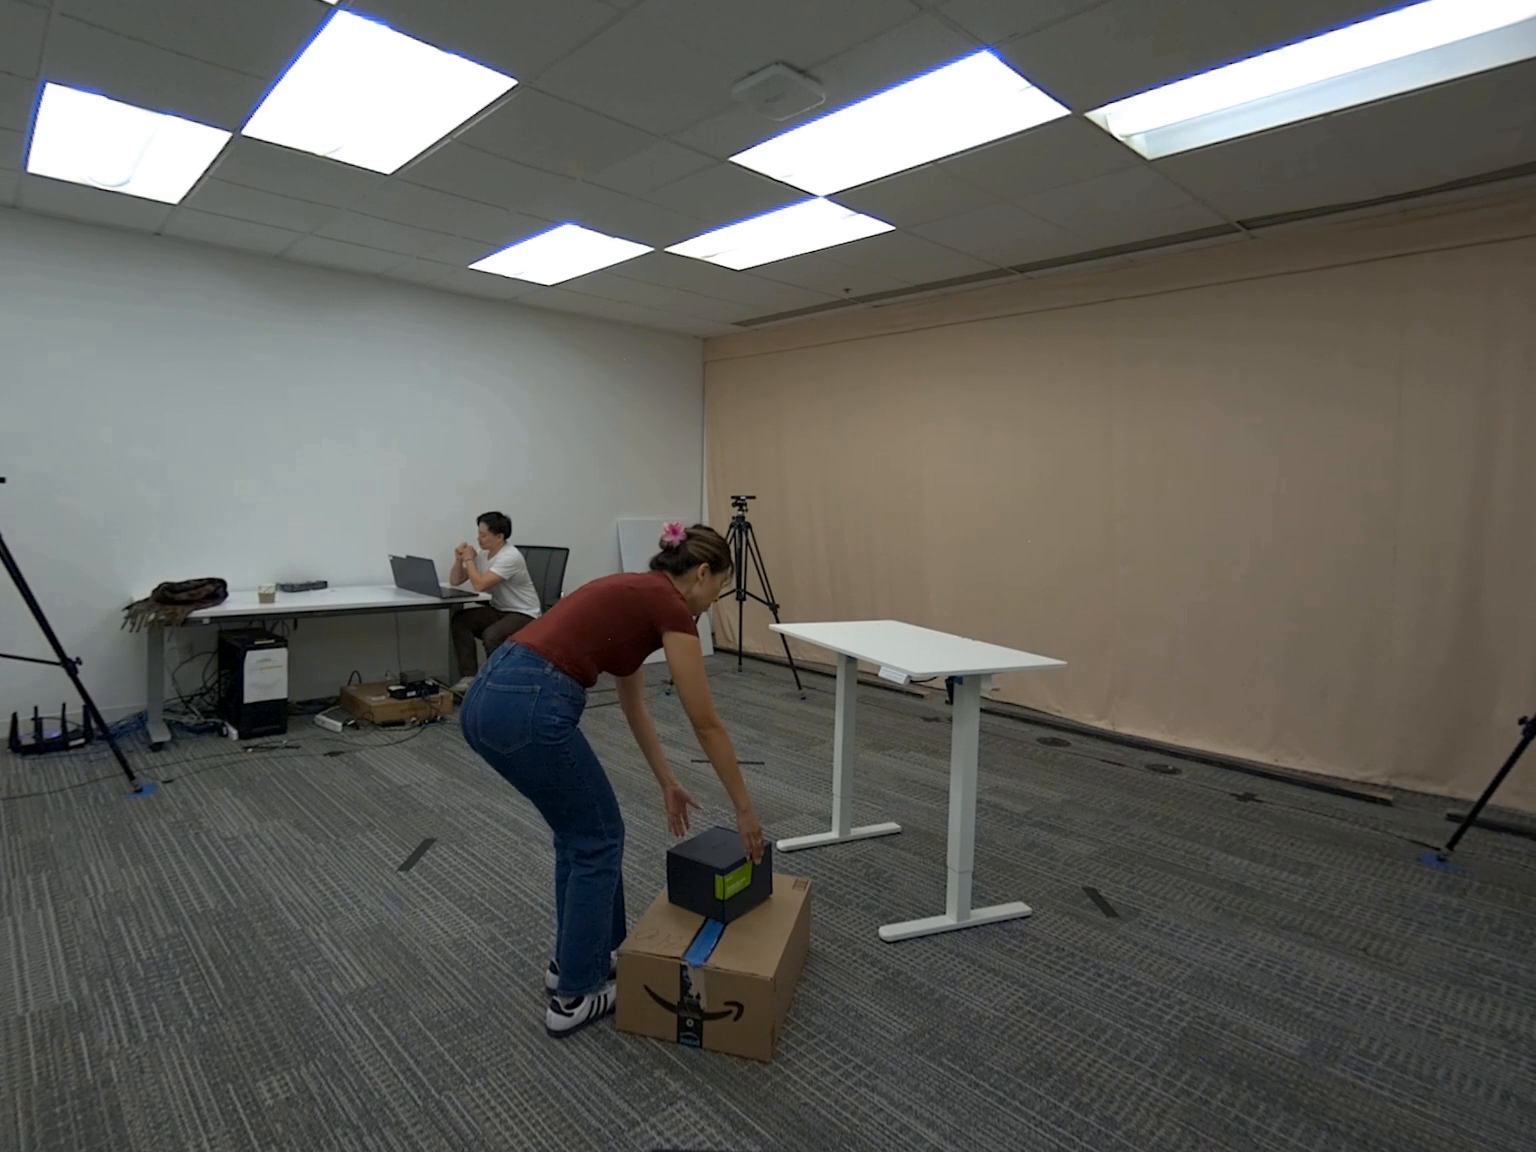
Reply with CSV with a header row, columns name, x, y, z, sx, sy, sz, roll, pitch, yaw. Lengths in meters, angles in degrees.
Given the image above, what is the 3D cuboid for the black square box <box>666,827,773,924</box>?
name,x,y,z,sx,sy,sz,roll,pitch,yaw
black square box,-0.144,0.859,2.451,0.222,0.155,0.223,3,6,37
